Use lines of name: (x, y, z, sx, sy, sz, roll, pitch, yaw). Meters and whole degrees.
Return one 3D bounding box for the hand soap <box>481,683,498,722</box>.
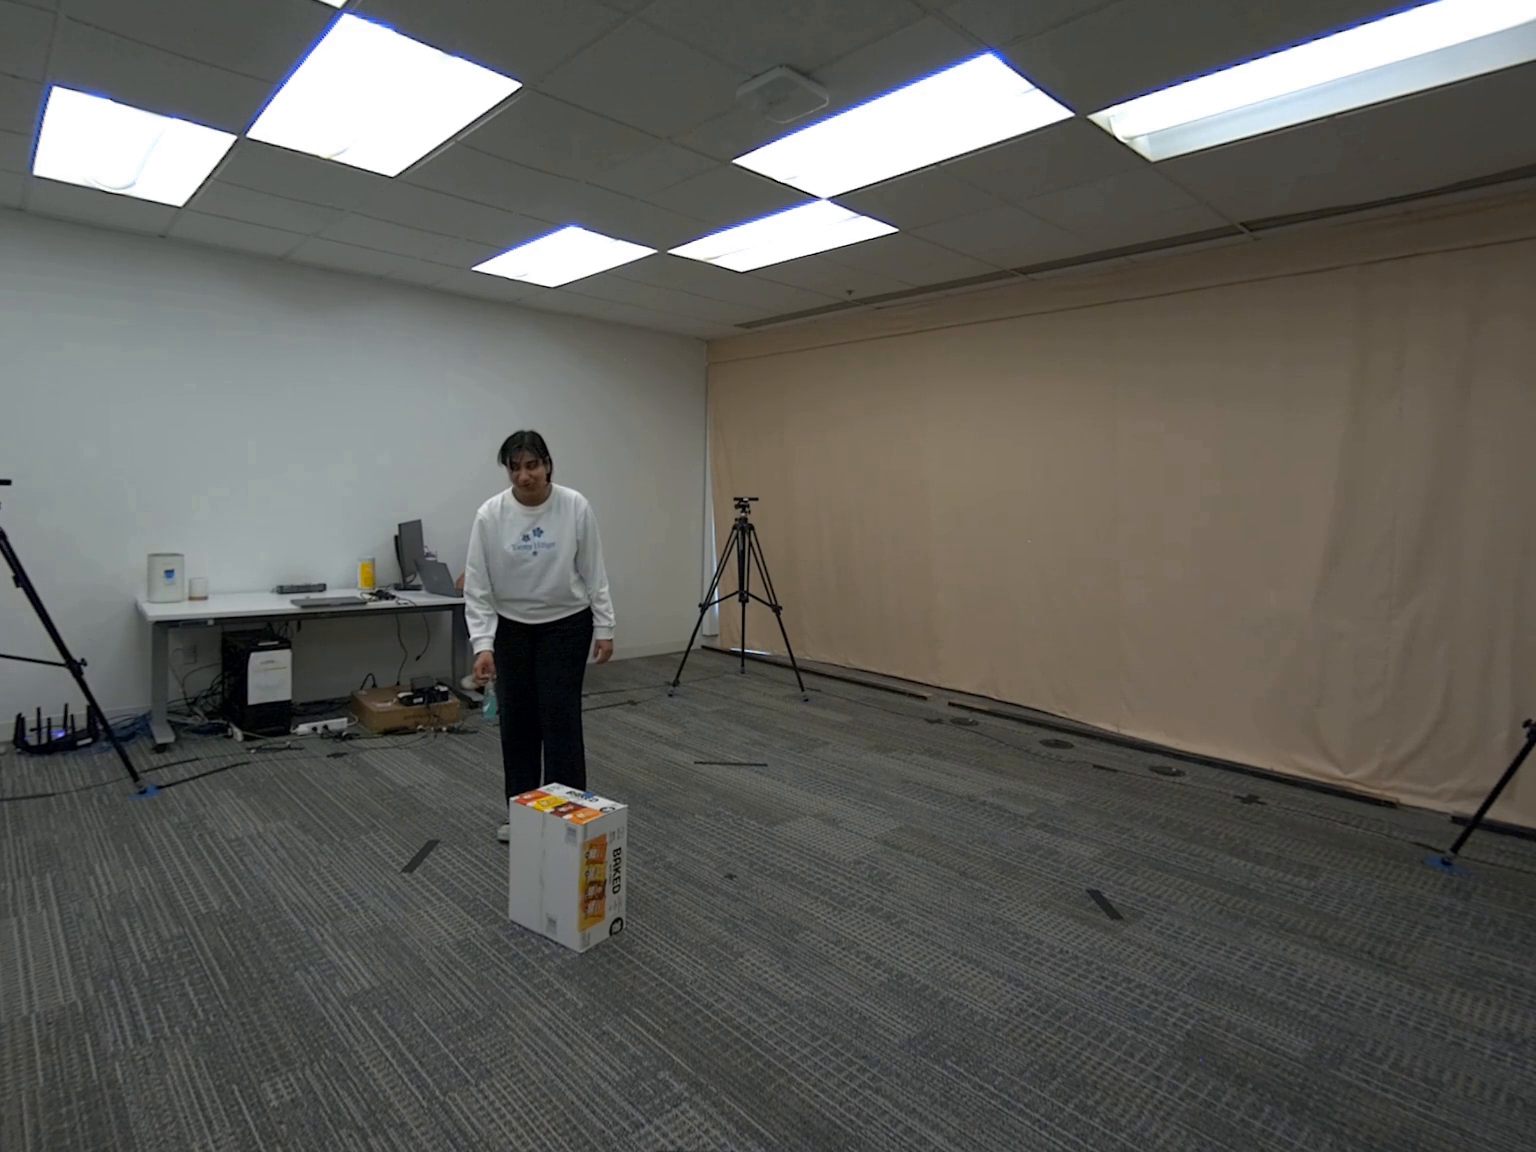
hand soap: (-1.082, 0.464, 3.210, 0.042, 0.169, 0.086, -3, -8, -31)
